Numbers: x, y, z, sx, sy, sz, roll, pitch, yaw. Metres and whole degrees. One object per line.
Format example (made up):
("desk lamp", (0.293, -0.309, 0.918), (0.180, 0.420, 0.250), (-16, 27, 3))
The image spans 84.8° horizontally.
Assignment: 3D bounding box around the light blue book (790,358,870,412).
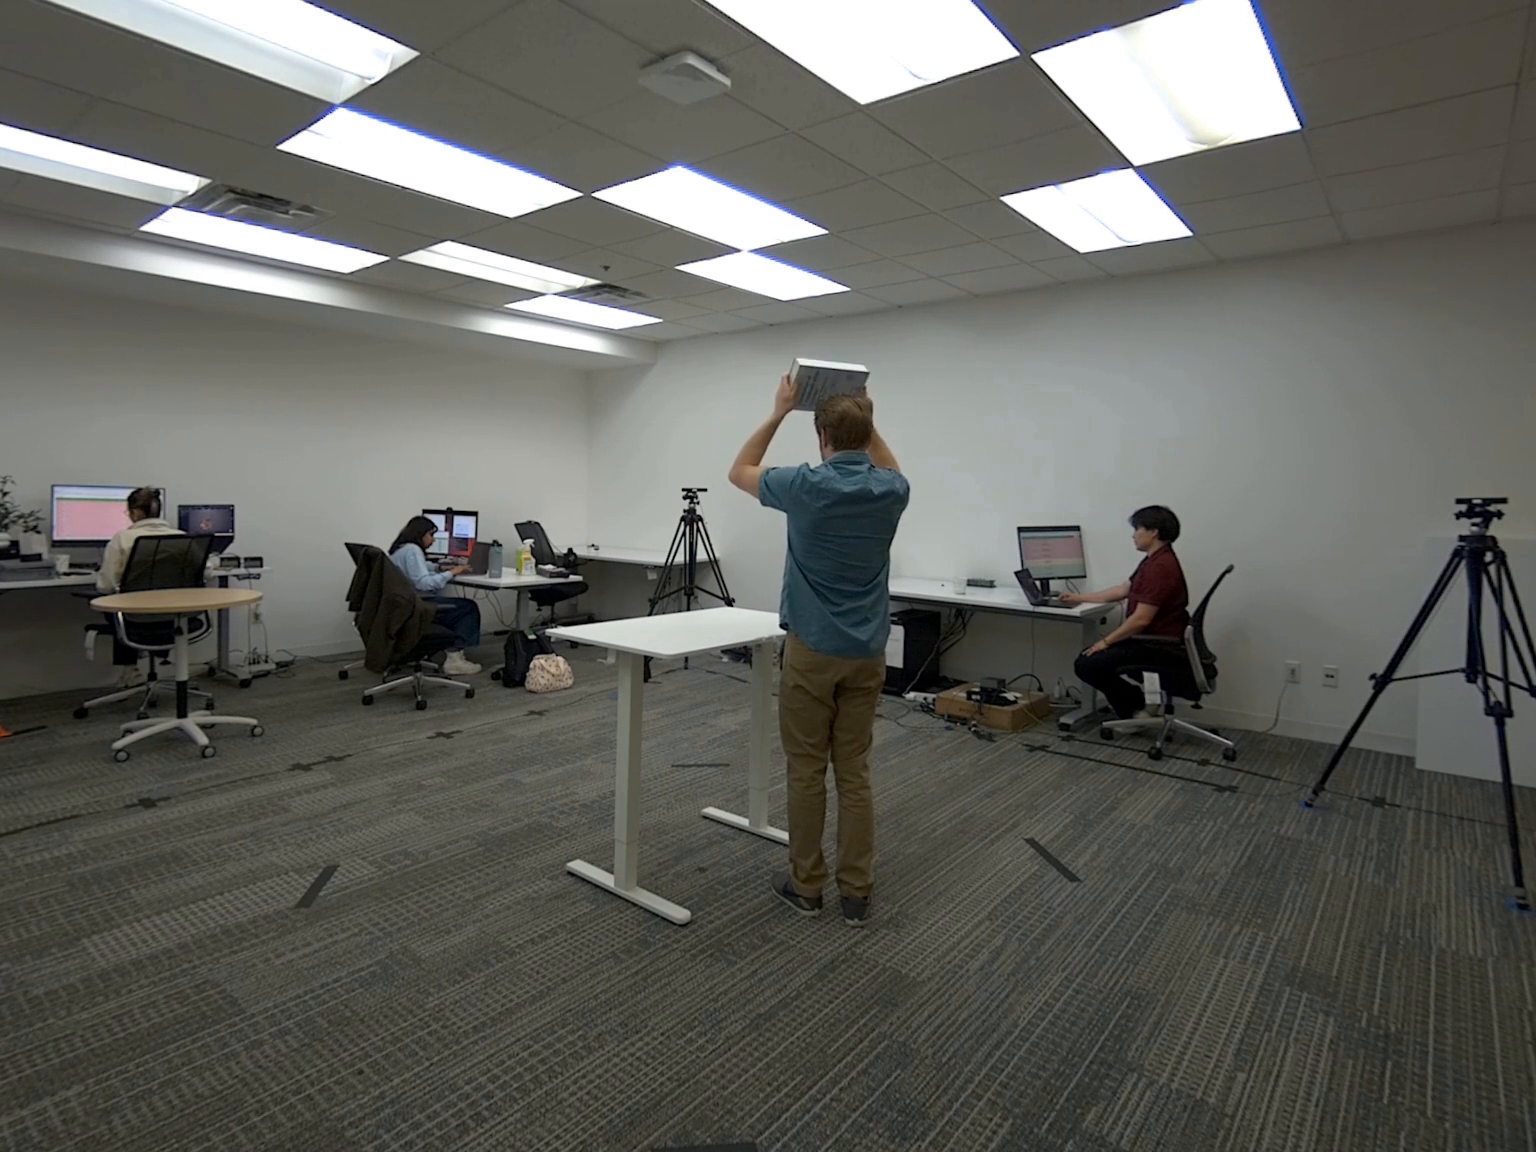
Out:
("light blue book", (0.178, -0.644, 2.943), (0.257, 0.188, 0.061), (2, 43, -15))
